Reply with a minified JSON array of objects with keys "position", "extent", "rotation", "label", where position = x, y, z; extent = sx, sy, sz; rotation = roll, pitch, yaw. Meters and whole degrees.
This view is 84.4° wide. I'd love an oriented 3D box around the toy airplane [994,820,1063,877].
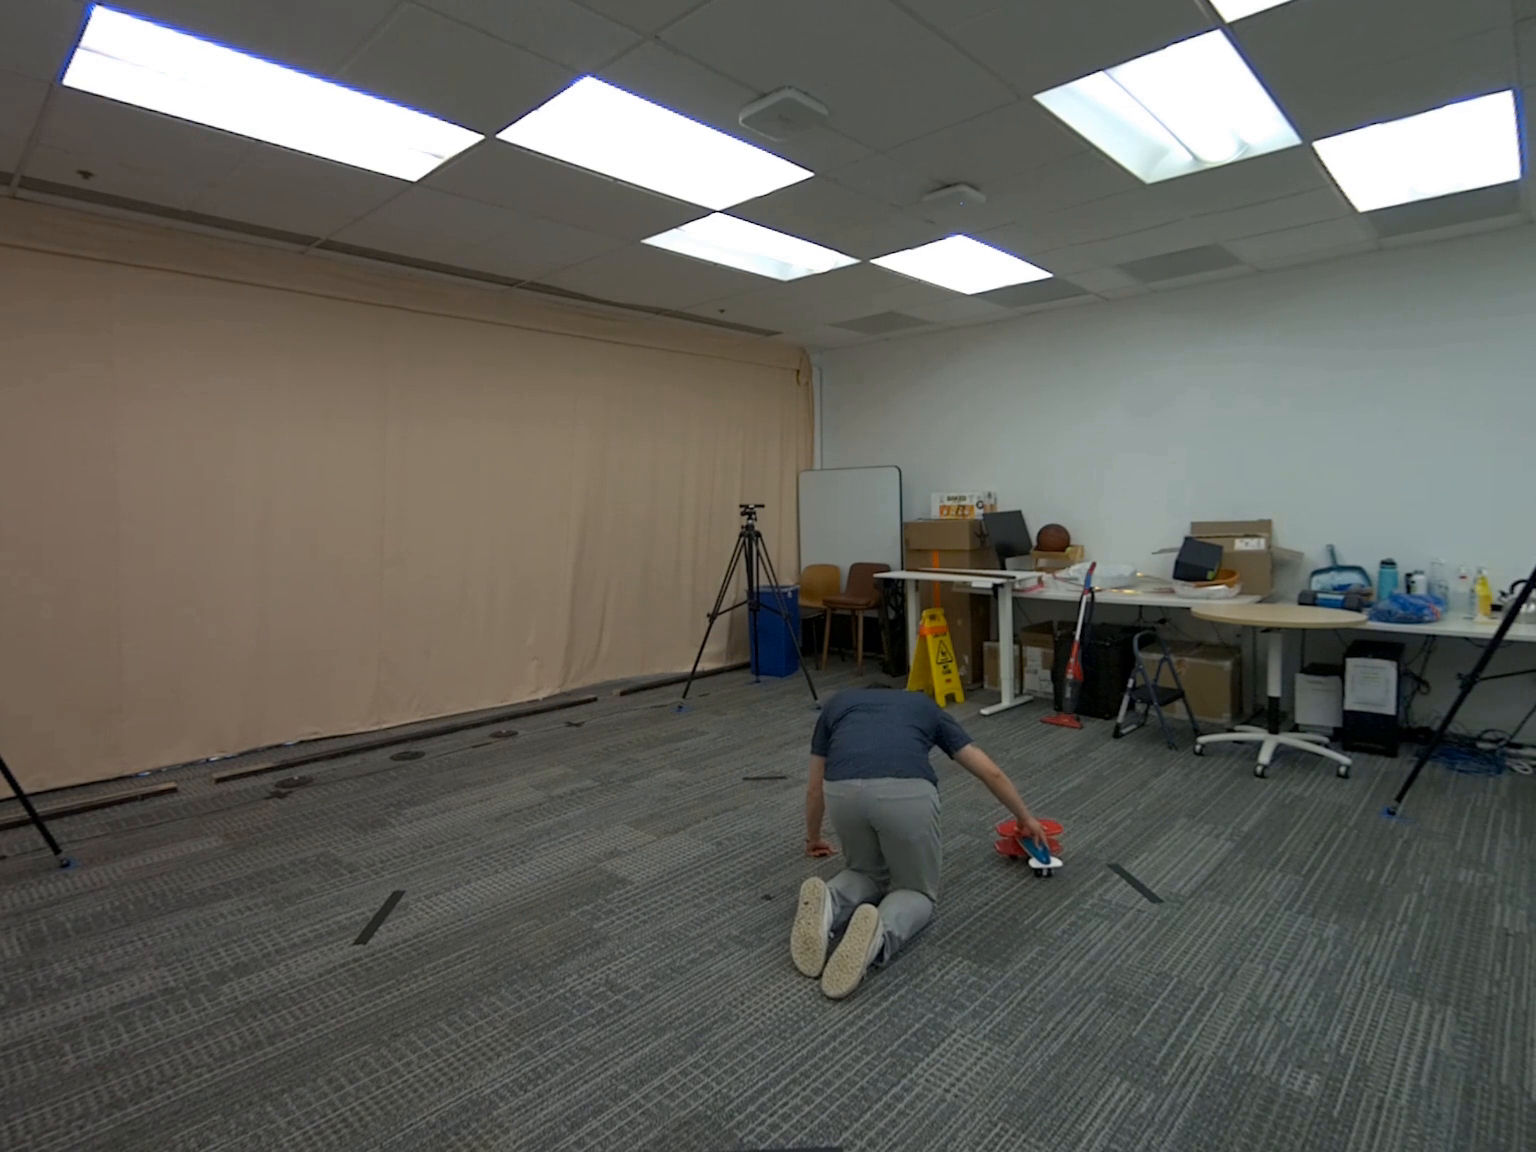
[{"position":[1.031,1.033,3.203],"extent":[0.244,0.156,0.267],"rotation":[-3,4,-32],"label":"toy airplane"}]
